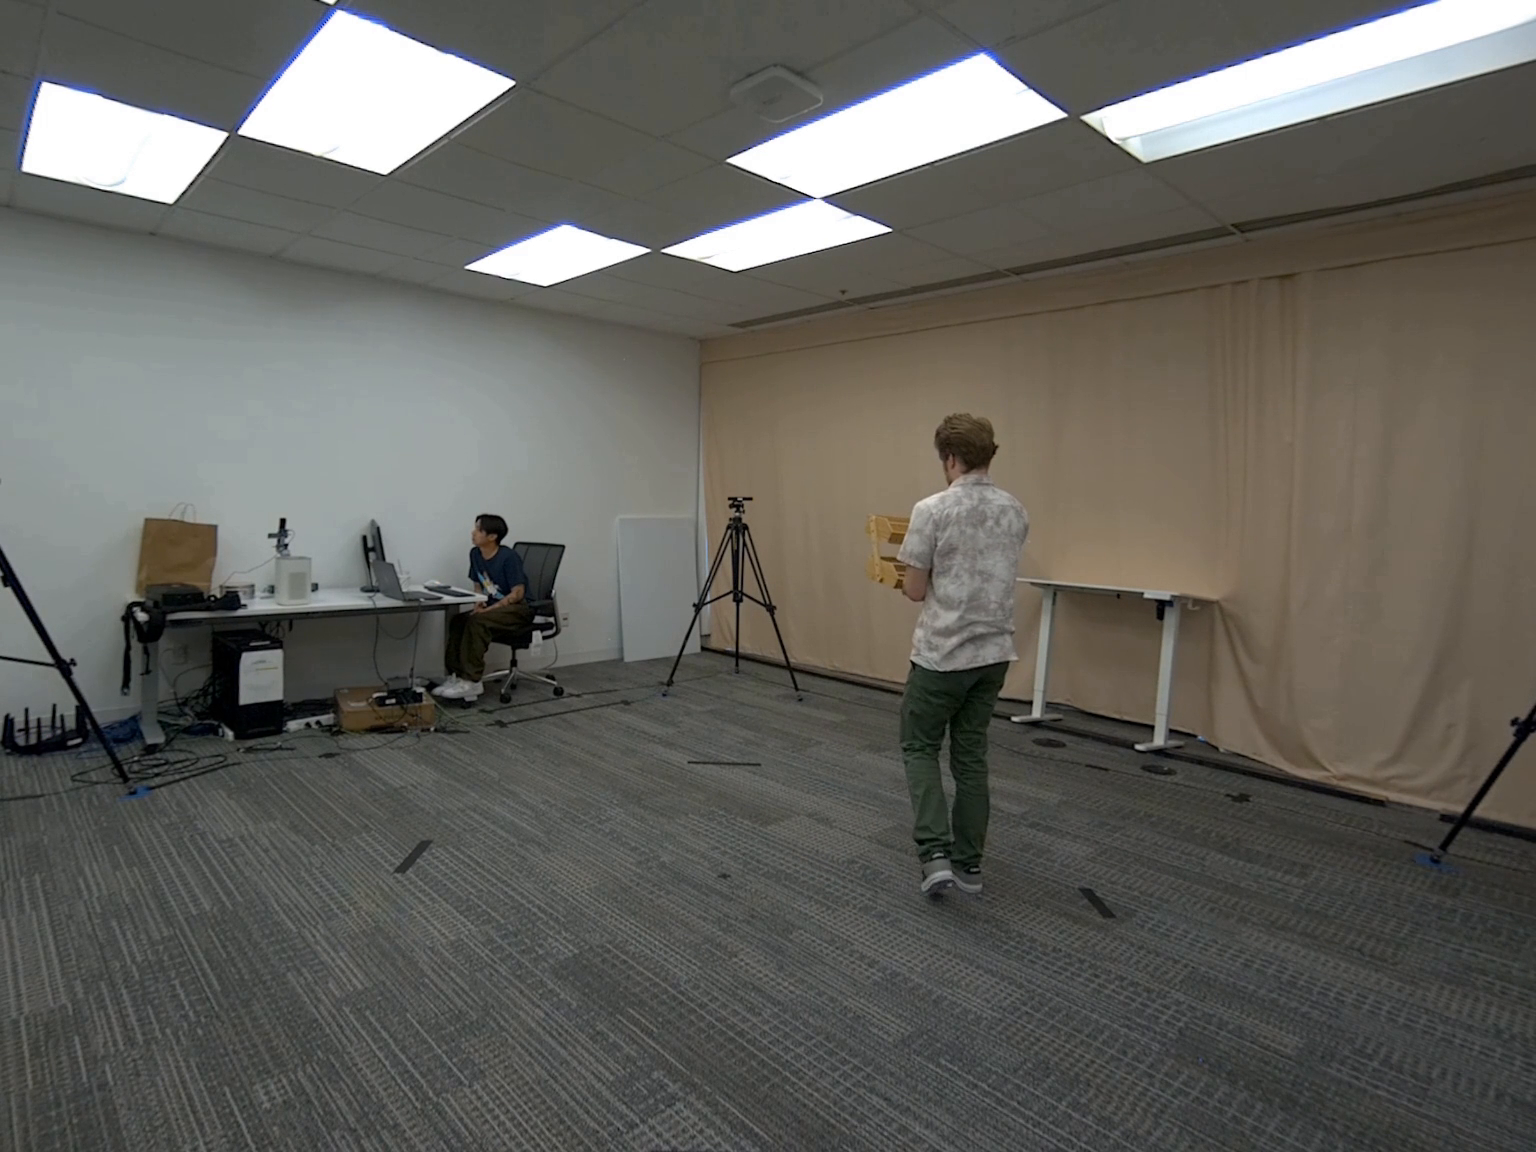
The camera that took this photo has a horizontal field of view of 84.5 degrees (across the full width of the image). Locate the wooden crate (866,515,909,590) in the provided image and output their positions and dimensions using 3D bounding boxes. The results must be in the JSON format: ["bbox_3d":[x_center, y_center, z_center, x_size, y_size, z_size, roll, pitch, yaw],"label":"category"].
[{"bbox_3d":[0.594,-0.101,3.470,0.319,0.272,0.308,4,8,-21],"label":"wooden crate"}]
